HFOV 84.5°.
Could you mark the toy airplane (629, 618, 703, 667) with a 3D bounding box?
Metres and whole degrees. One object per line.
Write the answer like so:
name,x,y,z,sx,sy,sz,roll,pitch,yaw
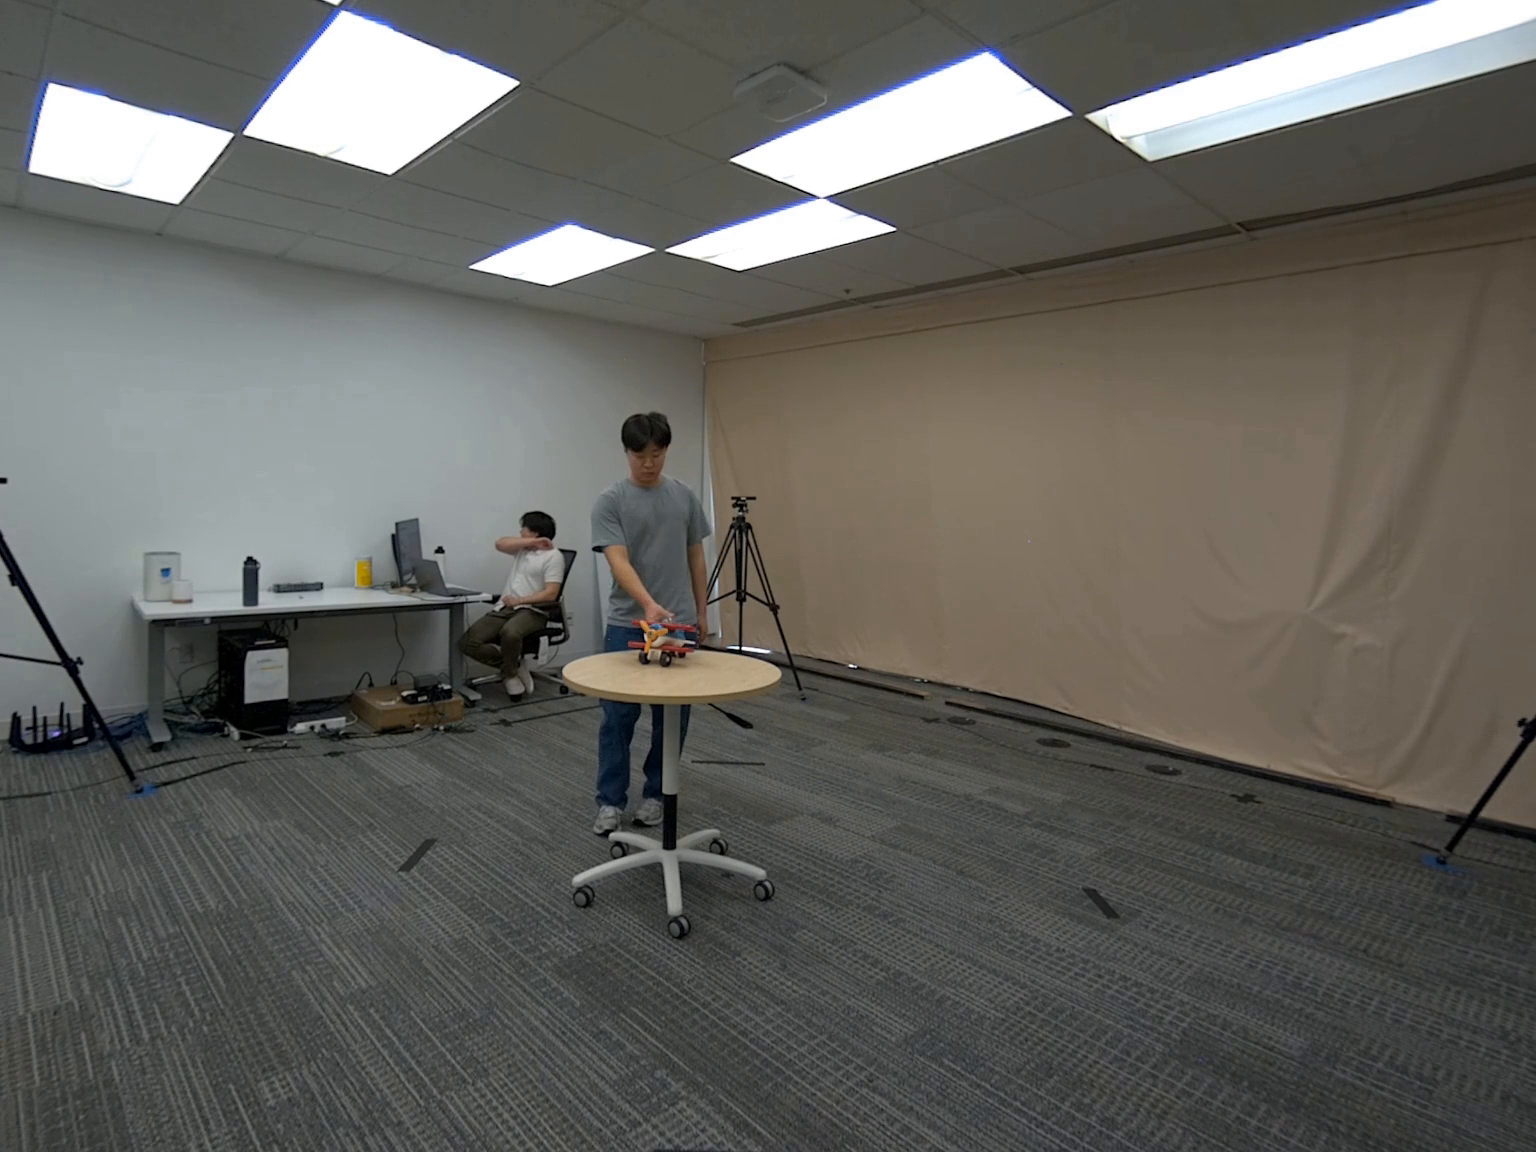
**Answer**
toy airplane,-0.405,0.238,3.109,0.249,0.156,0.262,2,6,-8
